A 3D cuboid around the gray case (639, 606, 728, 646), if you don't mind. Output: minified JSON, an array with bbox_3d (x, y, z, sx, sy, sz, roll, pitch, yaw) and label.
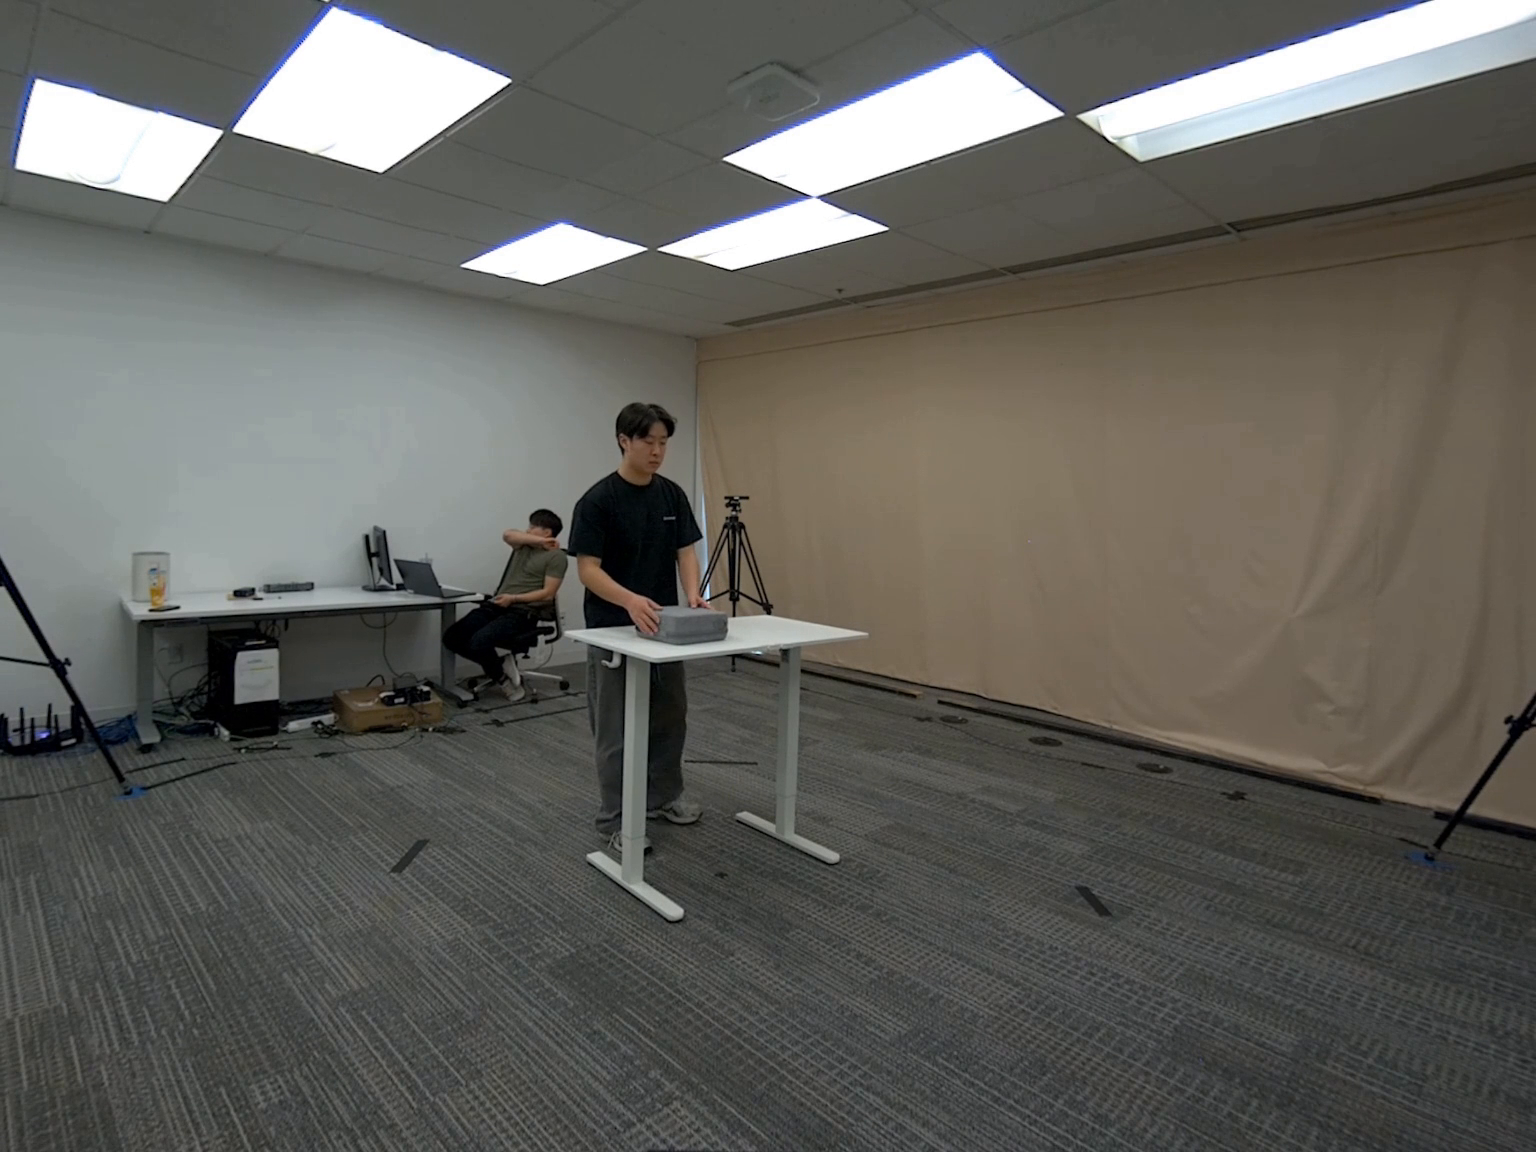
[{"bbox_3d":[-0.306,0.176,3.019,0.280,0.103,0.270,-2,6,-44],"label":"gray case"}]
